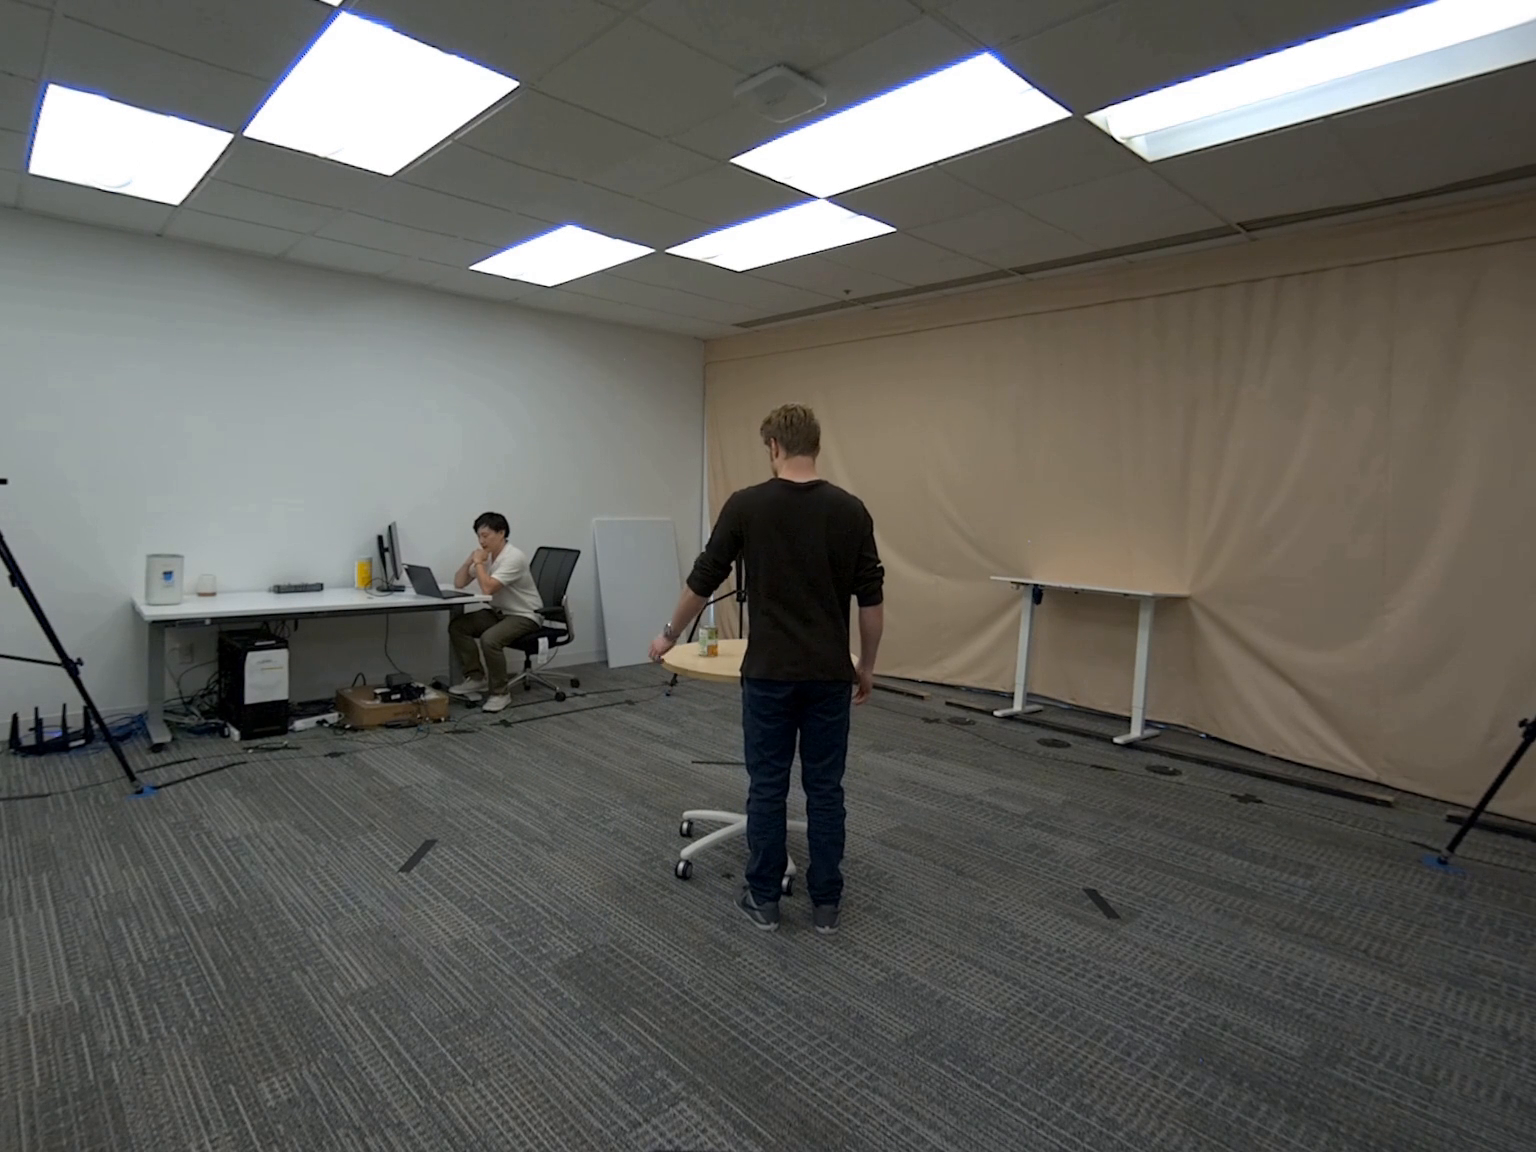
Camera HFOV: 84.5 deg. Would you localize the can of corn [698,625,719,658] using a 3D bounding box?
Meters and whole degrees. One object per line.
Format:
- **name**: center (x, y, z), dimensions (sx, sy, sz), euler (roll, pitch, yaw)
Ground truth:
- **can of corn**: center (-0.240, 0.252, 3.257), dimensions (0.074, 0.111, 0.074), euler (1, 1, -1)
